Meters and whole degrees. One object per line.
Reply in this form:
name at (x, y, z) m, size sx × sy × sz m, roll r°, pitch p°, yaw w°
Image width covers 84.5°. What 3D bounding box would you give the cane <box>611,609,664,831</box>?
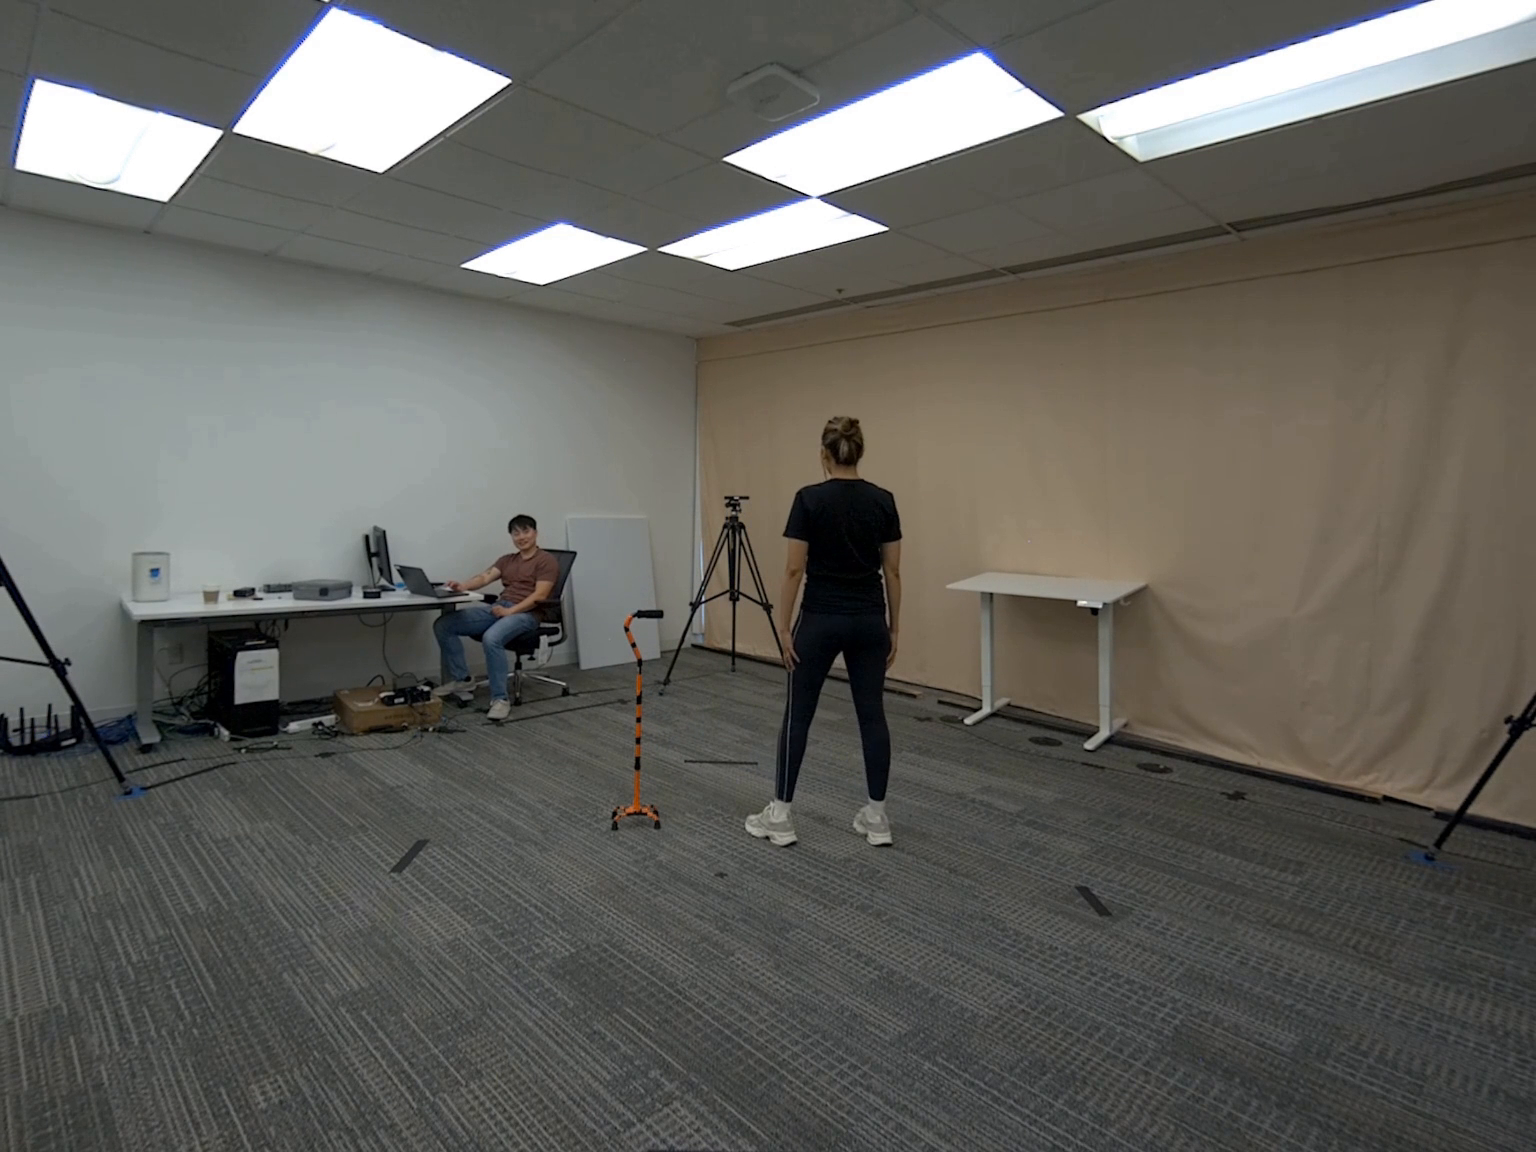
cane at (-0.563, 0.601, 3.559) m, size 0.205 × 0.906 × 0.153 m, roll 1°, pitch 3°, yaw -10°
